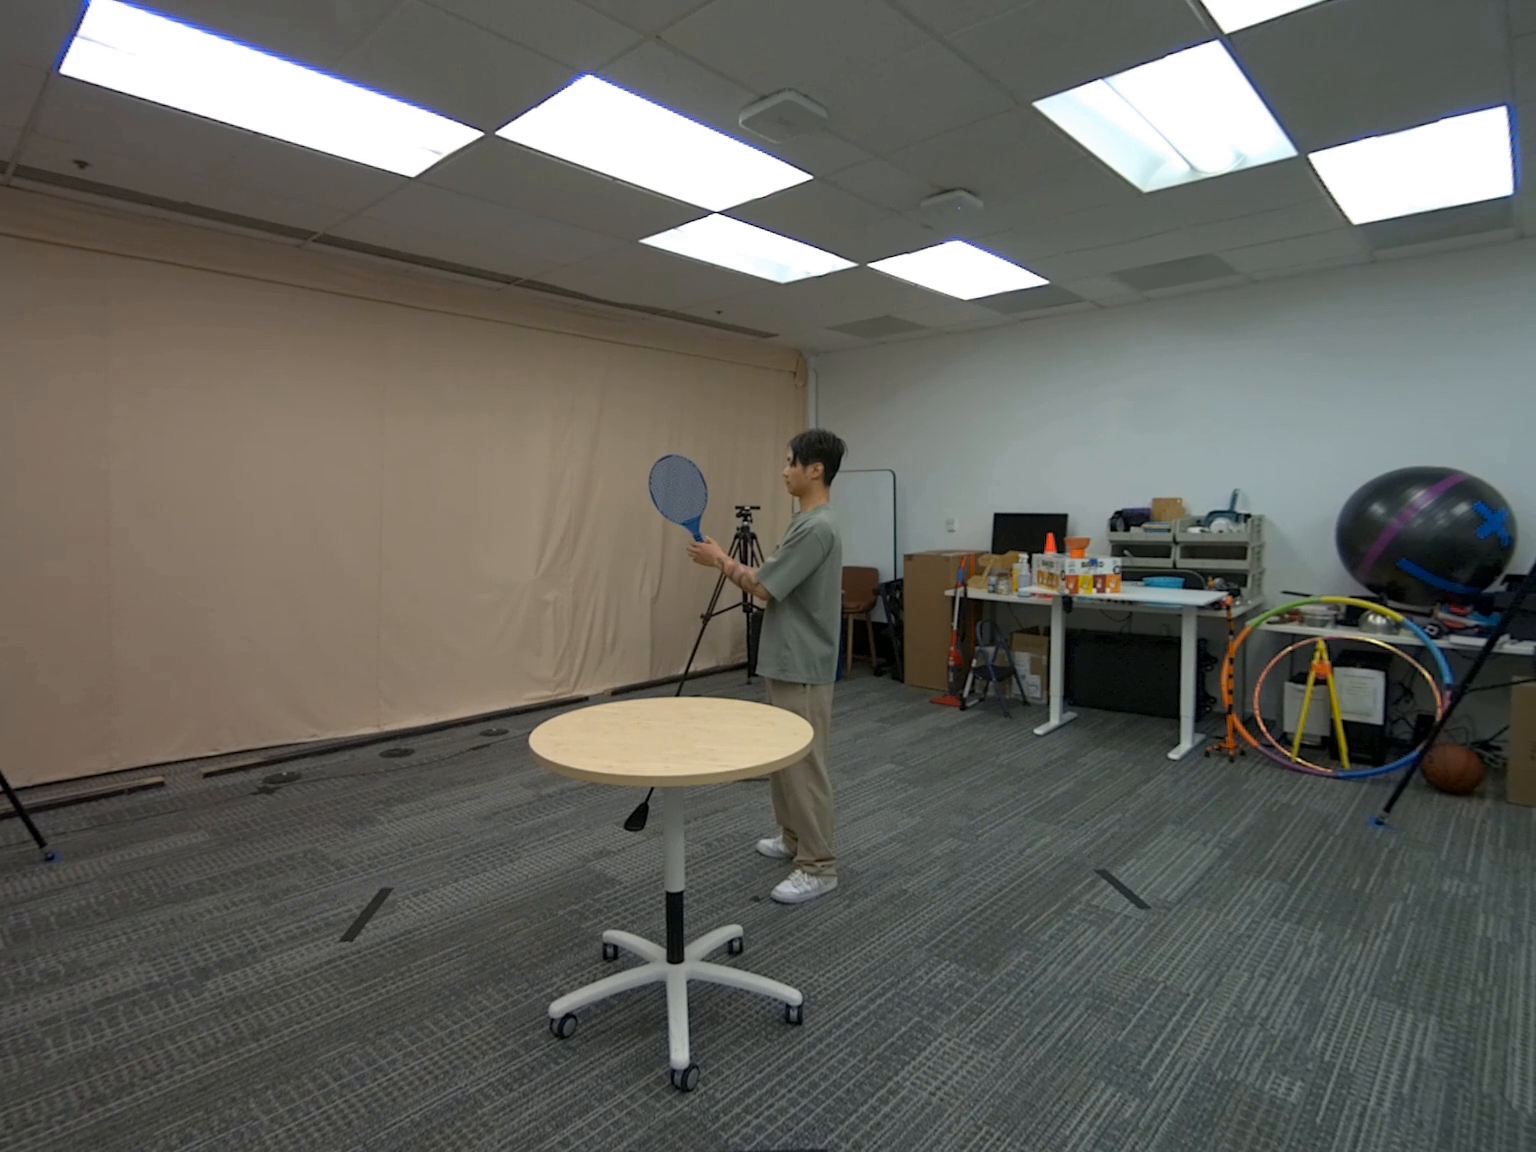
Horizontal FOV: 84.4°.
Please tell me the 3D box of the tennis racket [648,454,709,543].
[{"bbox_3d":[-0.300,-0.249,3.168,0.215,0.430,0.032,-21,6,9],"label":"tennis racket"}]
